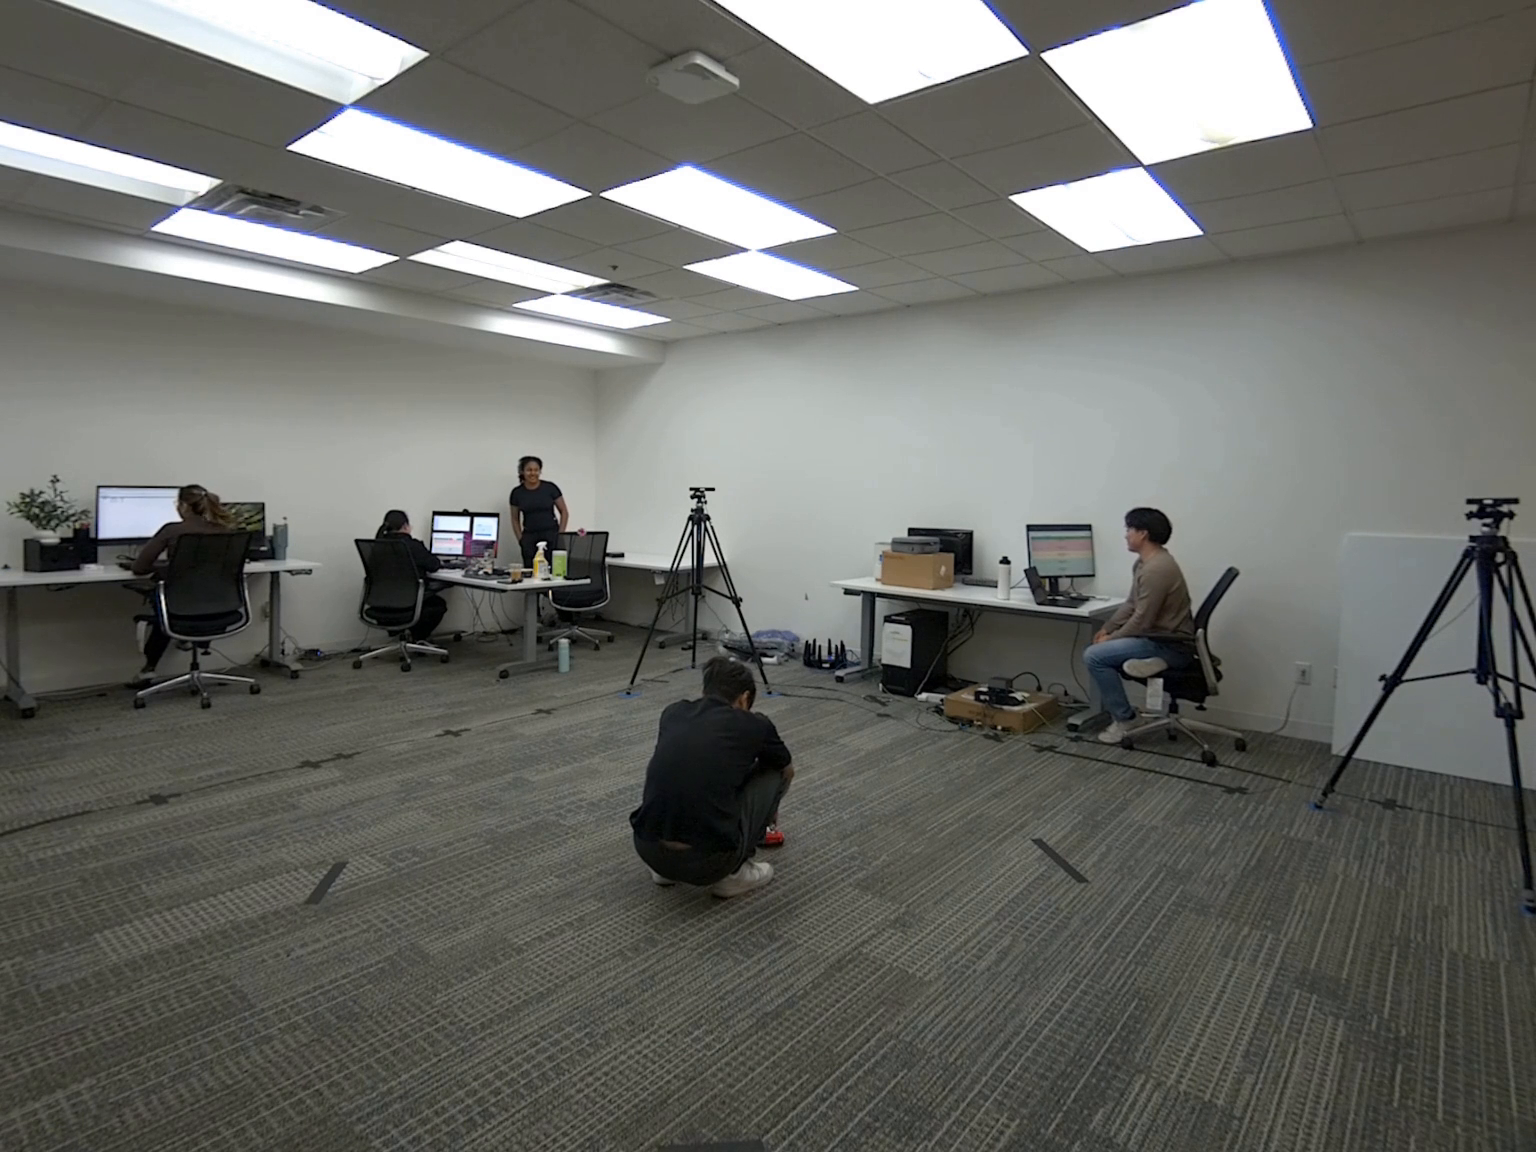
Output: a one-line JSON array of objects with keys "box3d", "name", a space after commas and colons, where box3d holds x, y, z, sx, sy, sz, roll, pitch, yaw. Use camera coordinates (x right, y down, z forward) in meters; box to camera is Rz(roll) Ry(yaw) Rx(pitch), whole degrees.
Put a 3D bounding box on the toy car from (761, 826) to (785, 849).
[{"box3d": [-0.036, 1.005, 3.416, 0.128, 0.082, 0.262, 0, 16, -15], "name": "toy car"}]
